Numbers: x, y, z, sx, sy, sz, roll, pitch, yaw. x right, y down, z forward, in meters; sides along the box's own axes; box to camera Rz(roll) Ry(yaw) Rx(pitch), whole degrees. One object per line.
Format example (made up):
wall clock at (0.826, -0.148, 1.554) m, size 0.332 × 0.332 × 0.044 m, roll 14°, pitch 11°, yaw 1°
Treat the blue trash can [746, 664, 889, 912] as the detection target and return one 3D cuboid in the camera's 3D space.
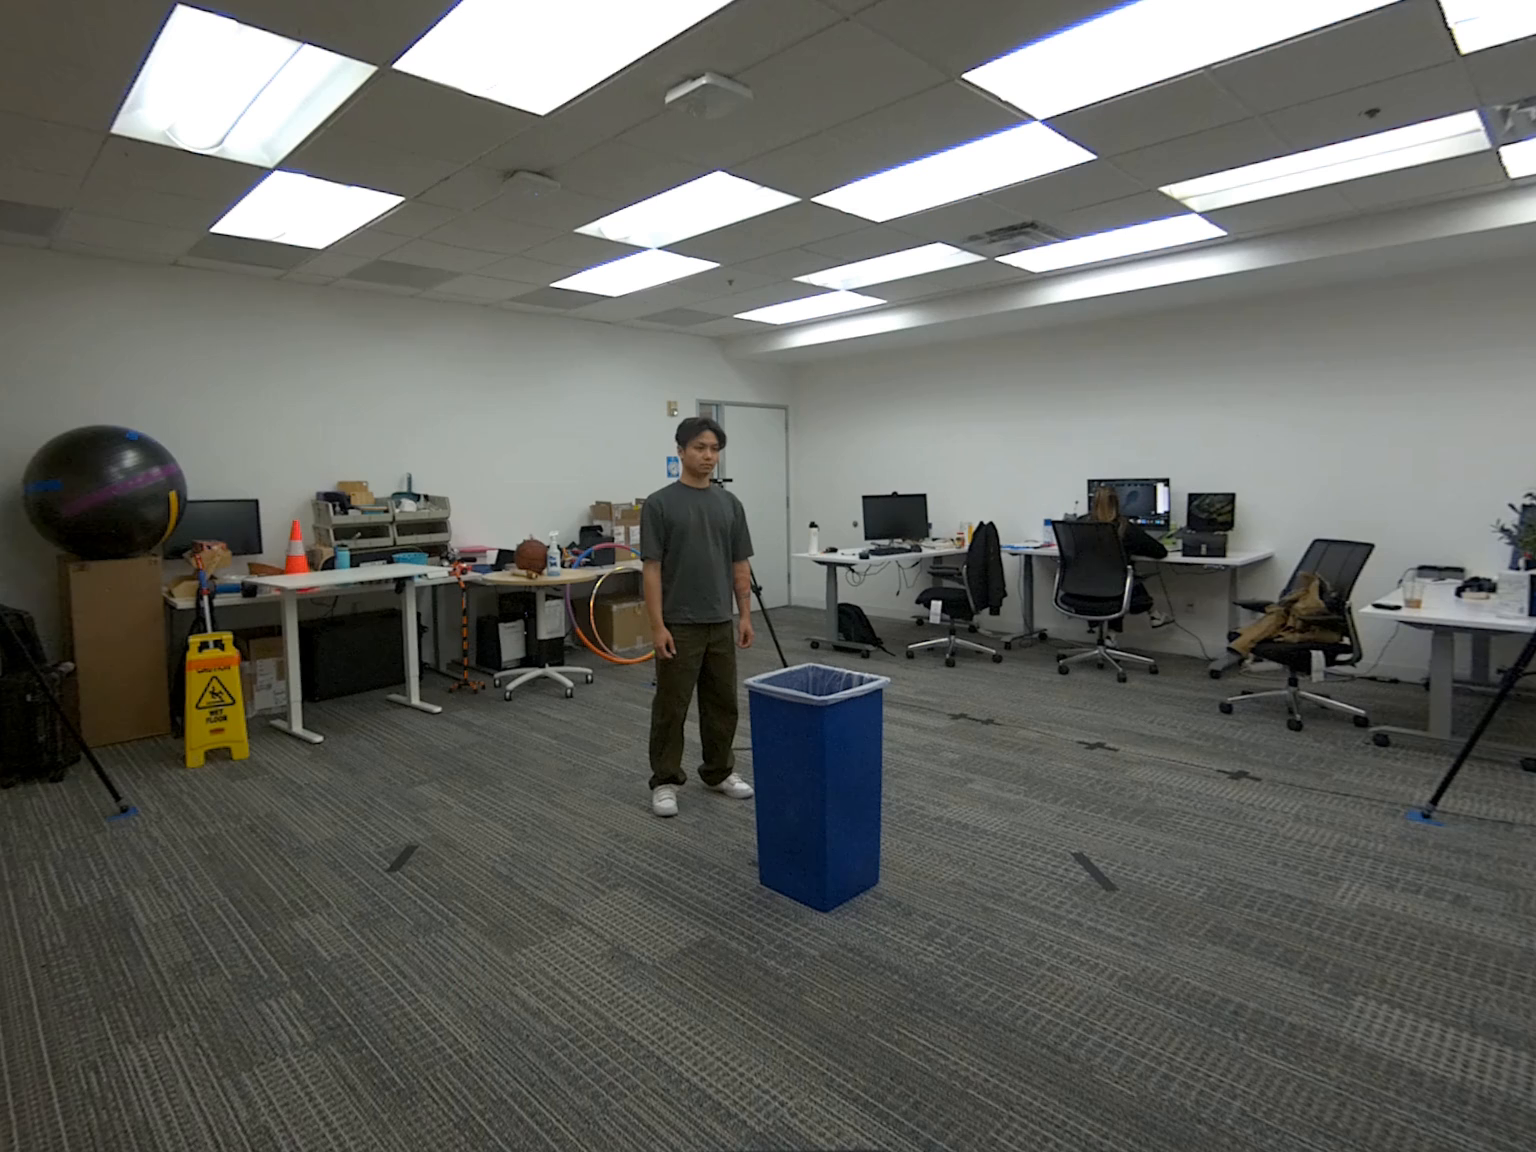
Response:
blue trash can at (0.171, 0.704, 2.920) m, size 0.390 × 0.711 × 0.364 m, roll 3°, pitch 5°, yaw 44°
